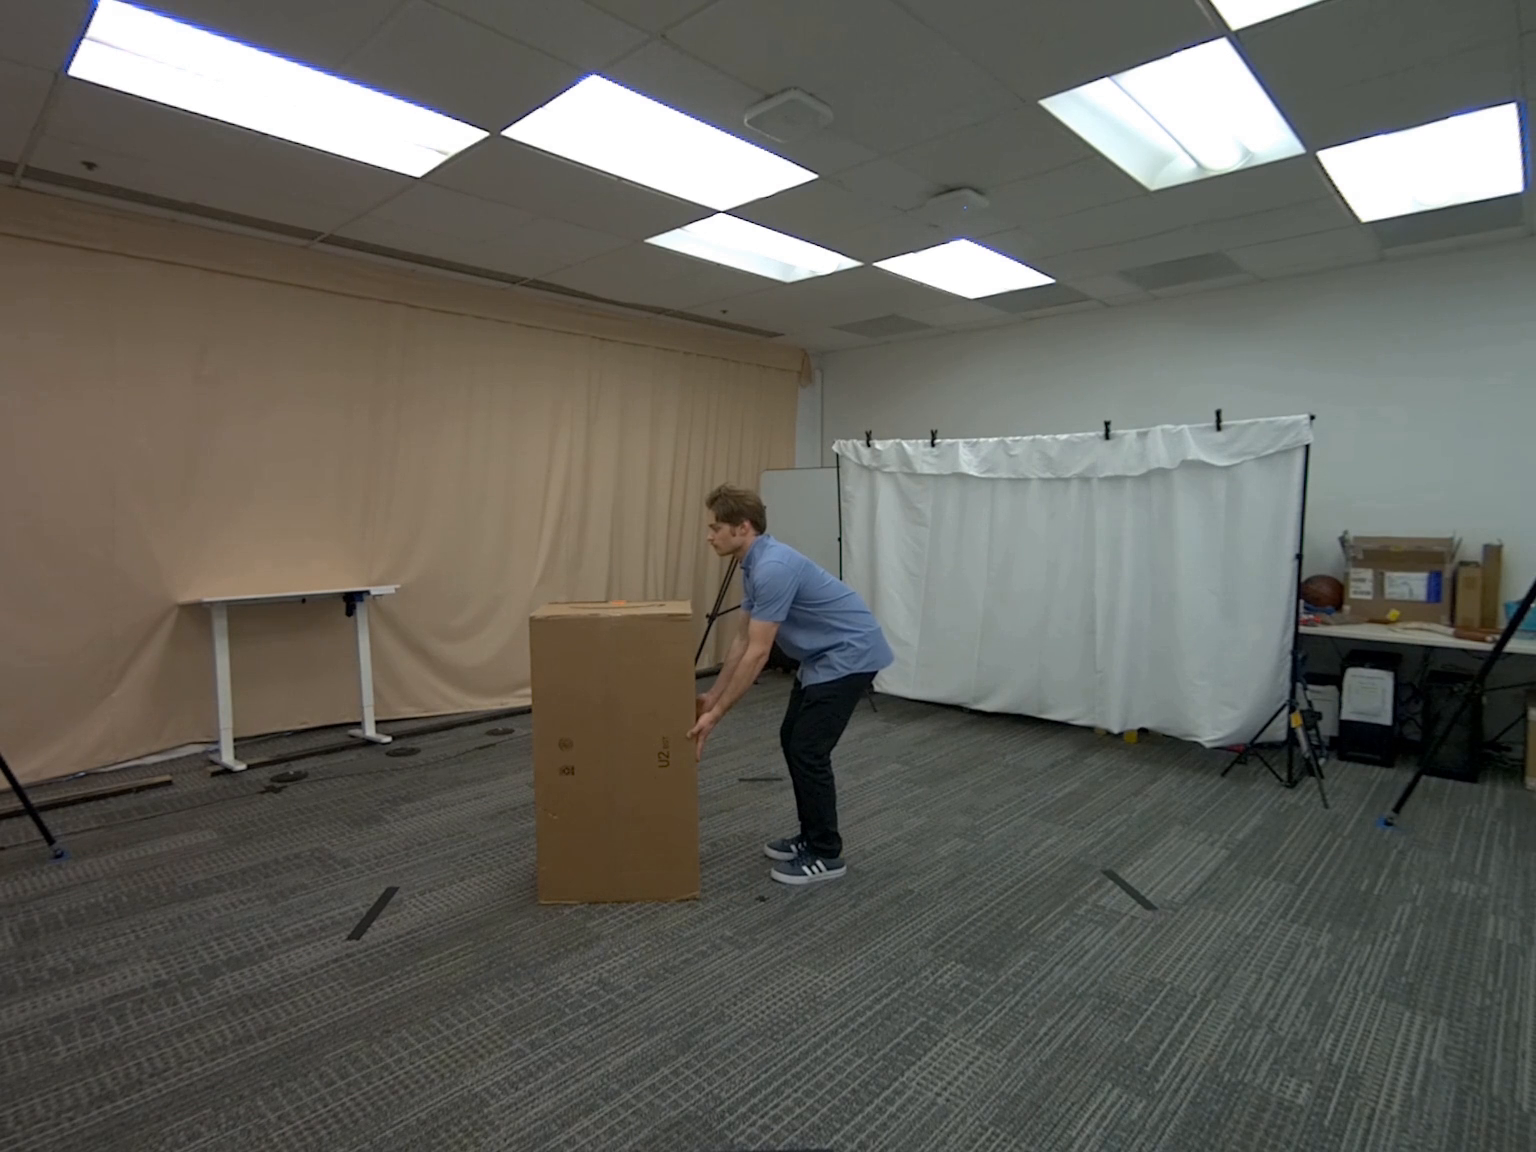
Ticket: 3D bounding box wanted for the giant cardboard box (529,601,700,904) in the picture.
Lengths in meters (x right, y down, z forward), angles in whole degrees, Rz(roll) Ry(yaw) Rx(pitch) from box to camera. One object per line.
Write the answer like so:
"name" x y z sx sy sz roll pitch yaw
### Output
"giant cardboard box" -0.558 0.625 3.157 0.575 1.024 0.428 -1 2 -4
